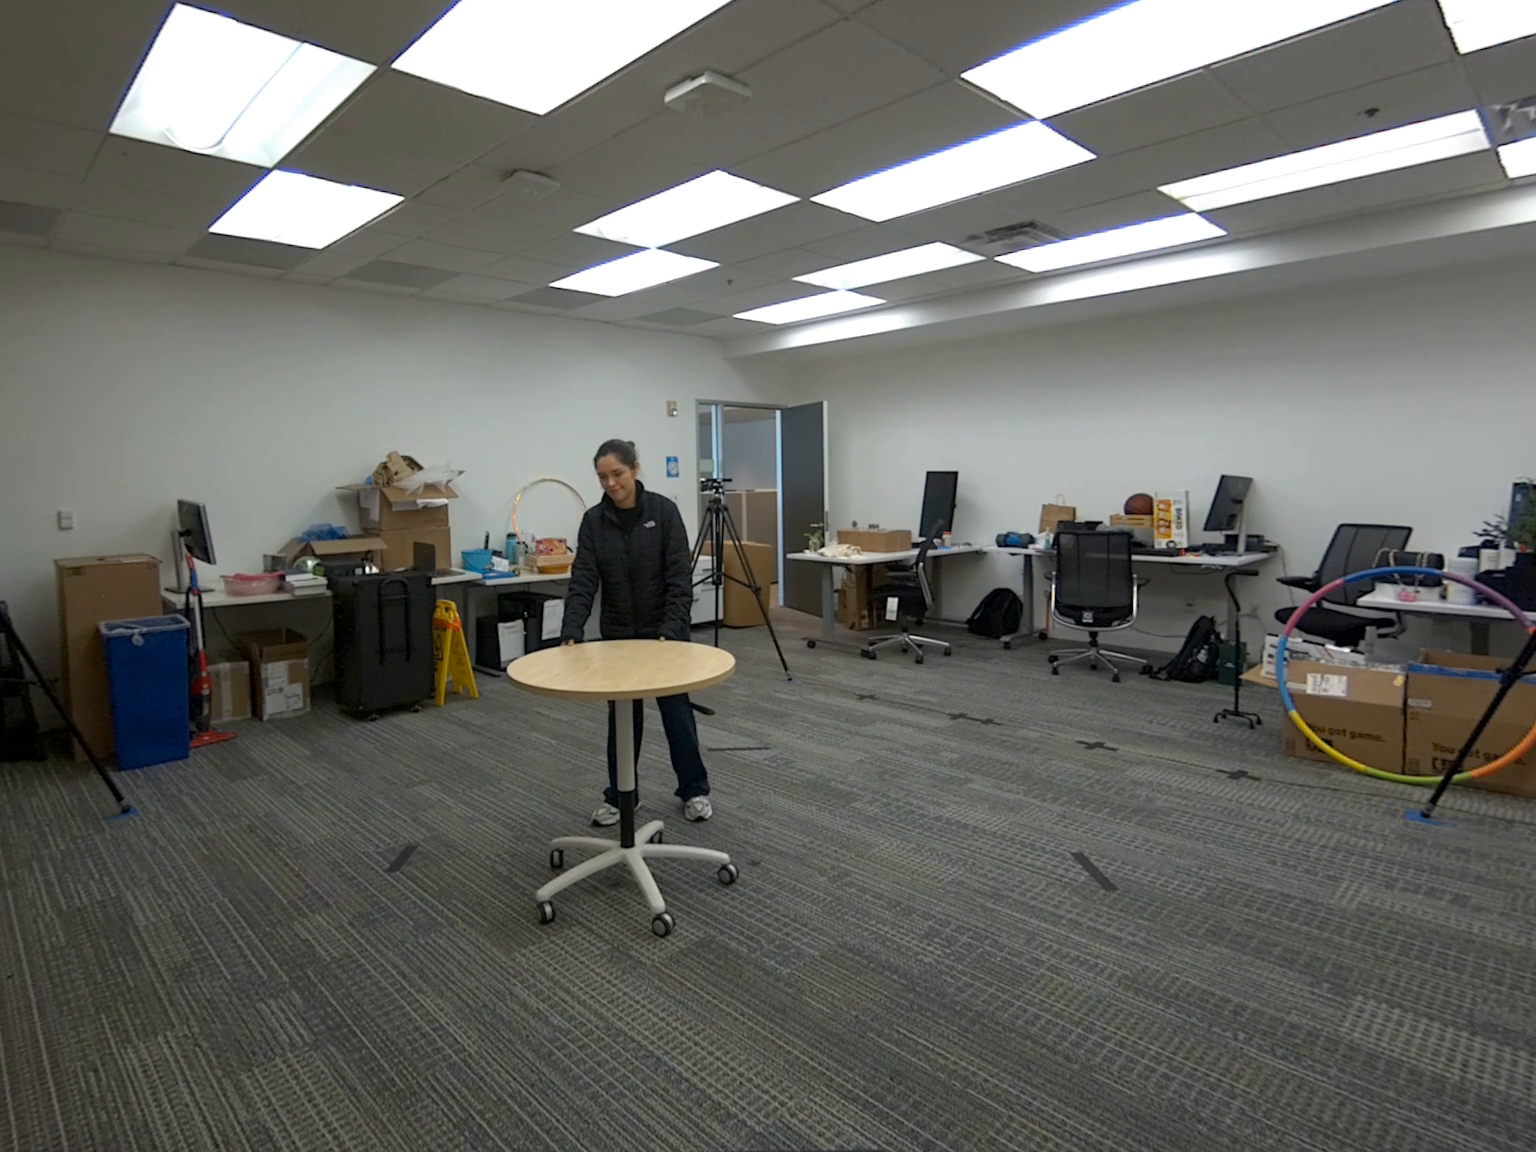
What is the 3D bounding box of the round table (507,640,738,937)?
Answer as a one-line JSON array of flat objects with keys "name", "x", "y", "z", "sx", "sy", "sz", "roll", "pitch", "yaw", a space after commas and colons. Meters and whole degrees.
[{"name": "round table", "x": -0.481, "y": 0.681, "z": 2.945, "sx": 0.784, "sy": 0.783, "sz": 0.789, "roll": -1, "pitch": 5, "yaw": -2}]
